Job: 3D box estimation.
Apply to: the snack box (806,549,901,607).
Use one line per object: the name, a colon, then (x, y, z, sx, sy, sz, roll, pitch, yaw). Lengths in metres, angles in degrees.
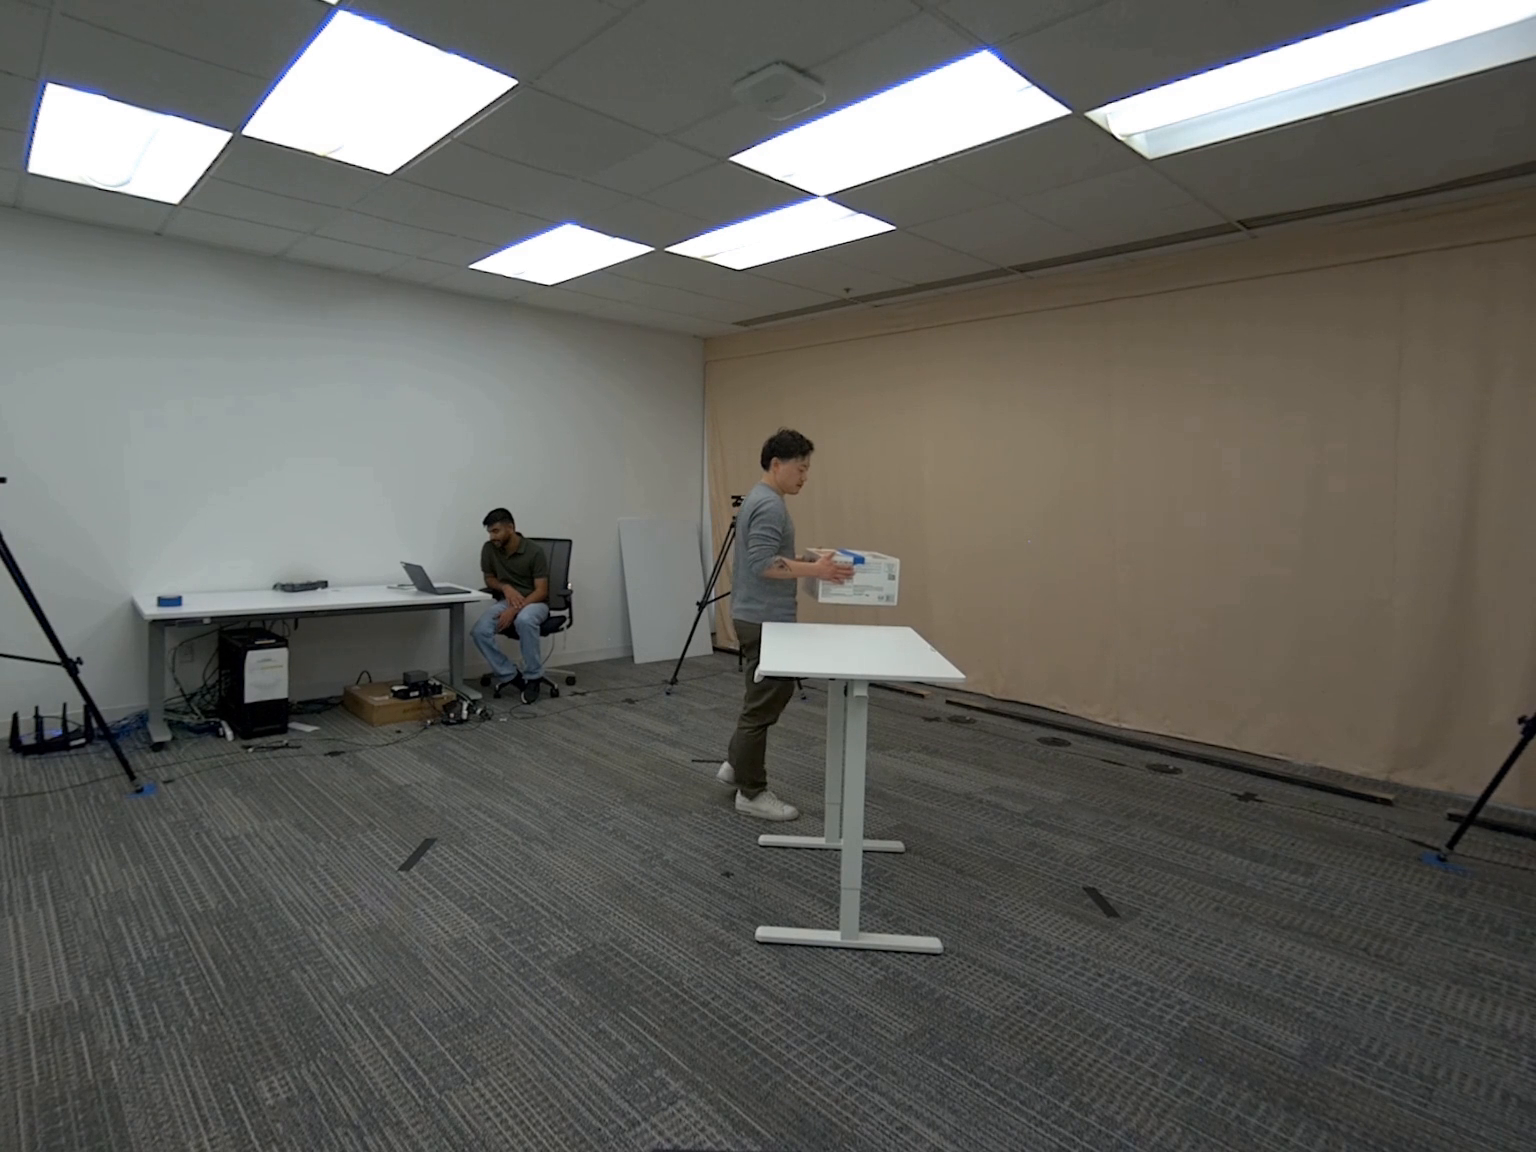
snack box: (0.353, 0.000, 3.747, 0.339, 0.205, 0.408, 2, 5, -6)
